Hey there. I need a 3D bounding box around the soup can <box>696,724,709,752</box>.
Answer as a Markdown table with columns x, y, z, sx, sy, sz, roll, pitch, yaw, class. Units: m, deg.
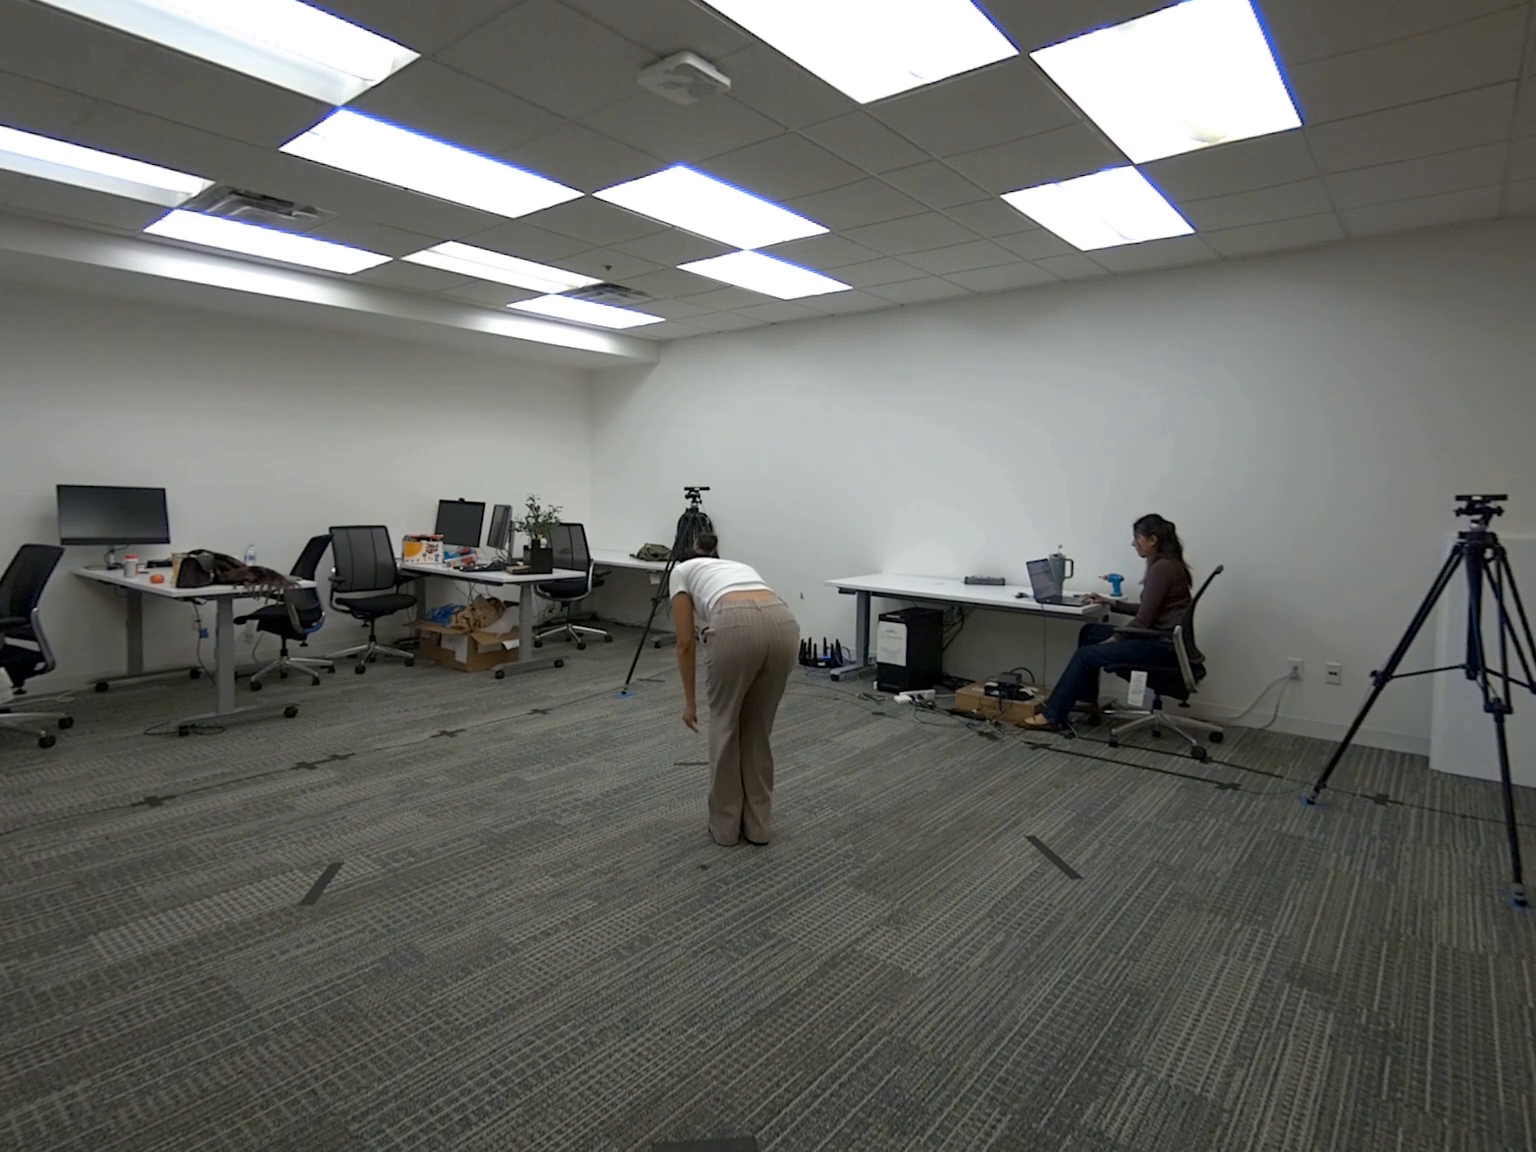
| x | y | z | sx | sy | sz | roll | pitch | yaw | class |
| --- | --- | --- | --- | --- | --- | --- | --- | --- | --- |
| -0.251 | 0.699 | 3.699 | 0.067 | 0.121 | 0.067 | 37 | 2 | -4 | soup can |
